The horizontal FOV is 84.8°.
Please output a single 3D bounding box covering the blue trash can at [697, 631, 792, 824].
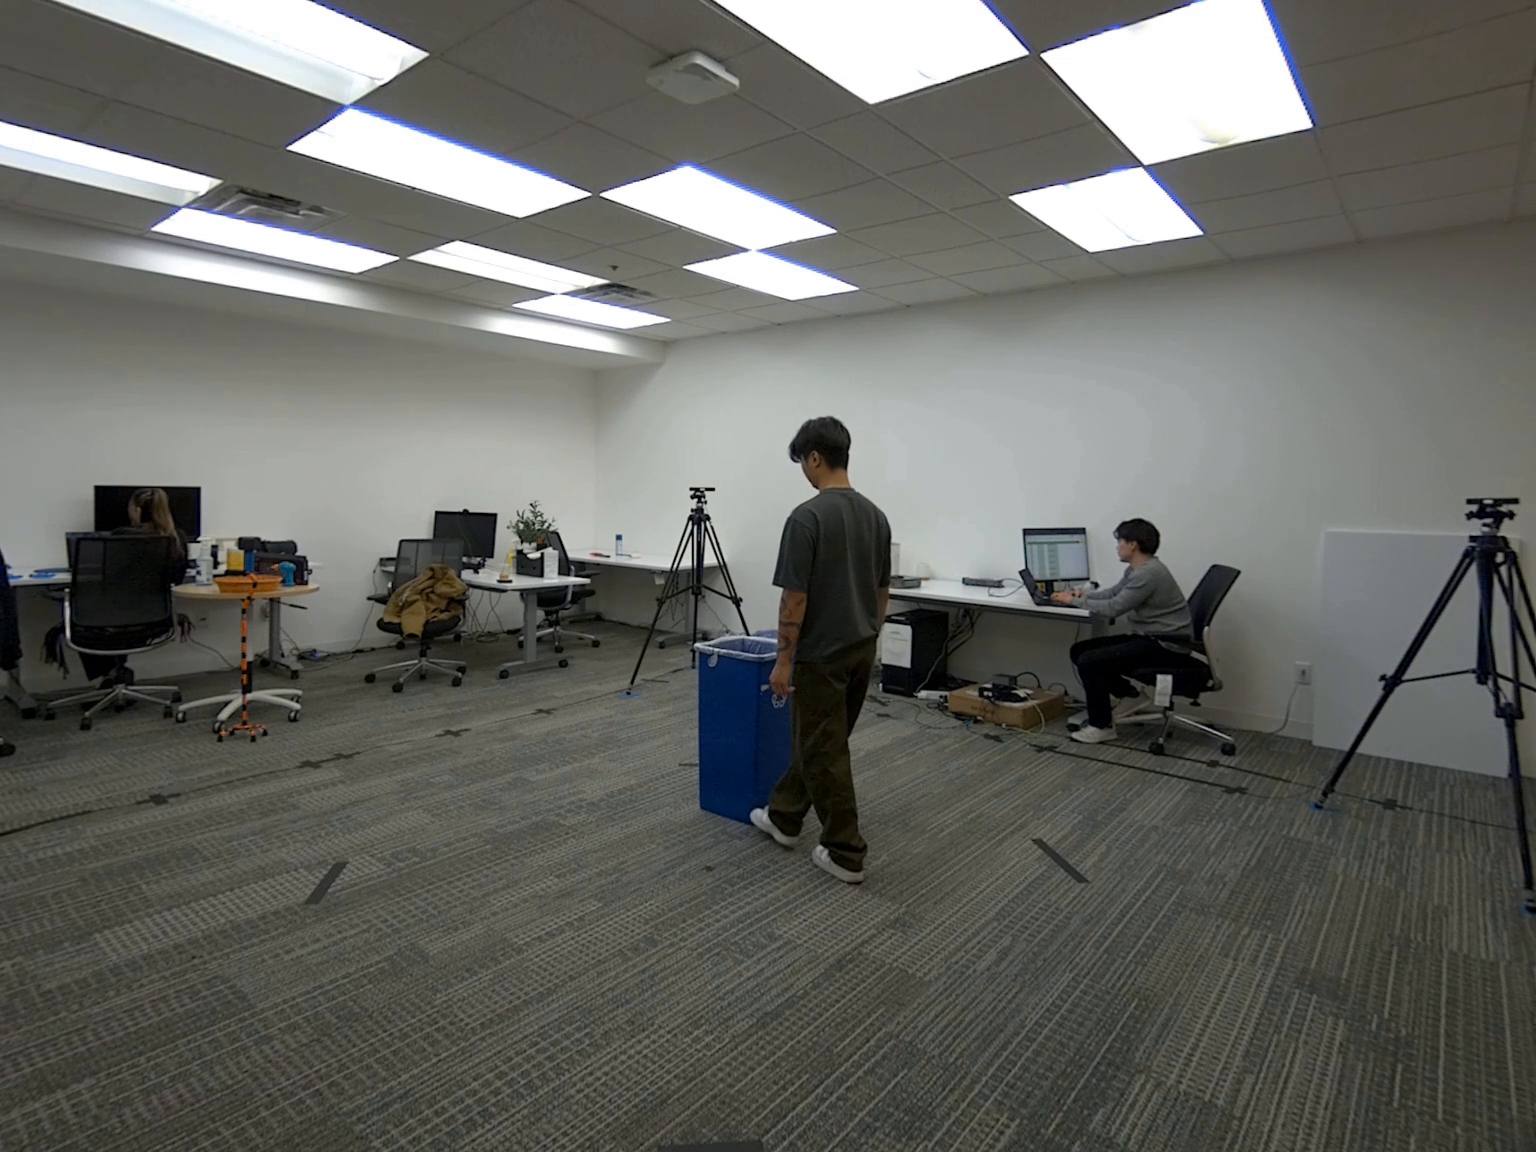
[{"bbox_3d":[-0.101,0.653,3.707,0.386,0.712,0.367,5,4,36],"label":"blue trash can"}]
